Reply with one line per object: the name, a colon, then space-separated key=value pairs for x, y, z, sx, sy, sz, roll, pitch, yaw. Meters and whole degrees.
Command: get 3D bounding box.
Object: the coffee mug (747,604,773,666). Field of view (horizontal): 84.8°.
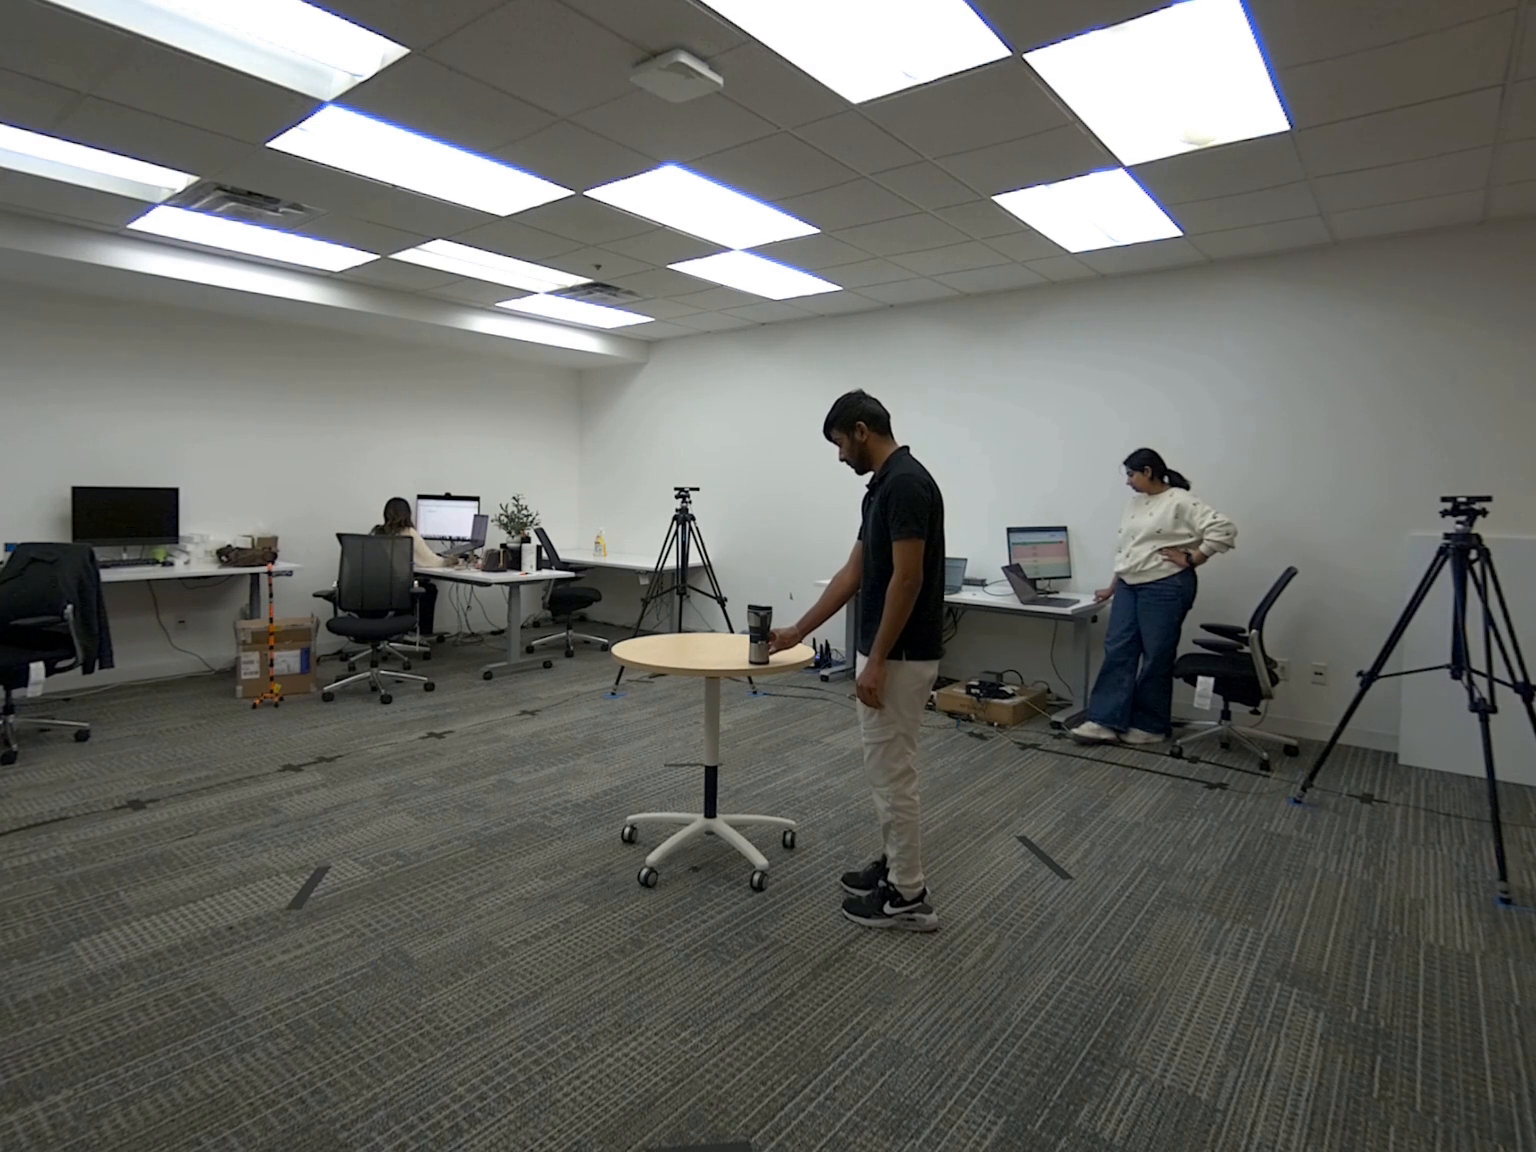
coffee mug: x=-0.041 y=0.199 z=2.924 sx=0.089 sy=0.203 sz=0.120 roll=3 pitch=-1 yaw=12
